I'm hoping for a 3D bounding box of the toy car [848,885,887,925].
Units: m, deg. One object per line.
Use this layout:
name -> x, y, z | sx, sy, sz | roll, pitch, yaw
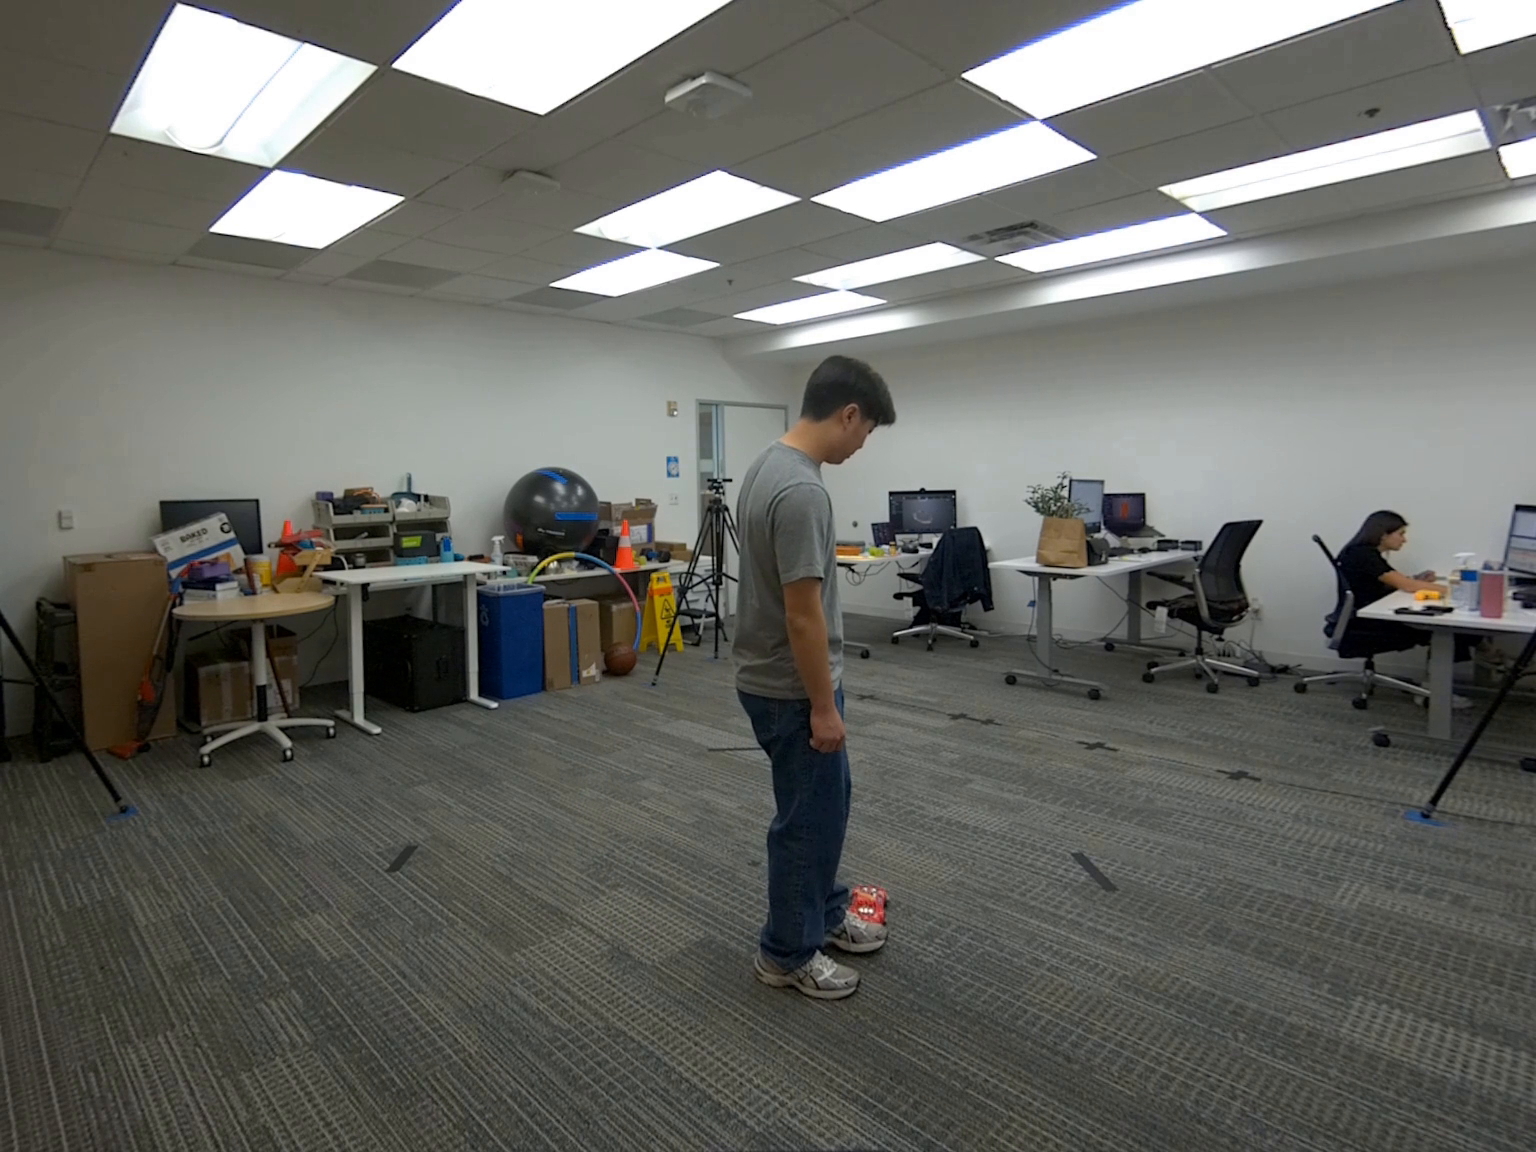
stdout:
toy car -> 0.320, 1.055, 2.701 | 0.132, 0.083, 0.250 | 1, -5, 11
